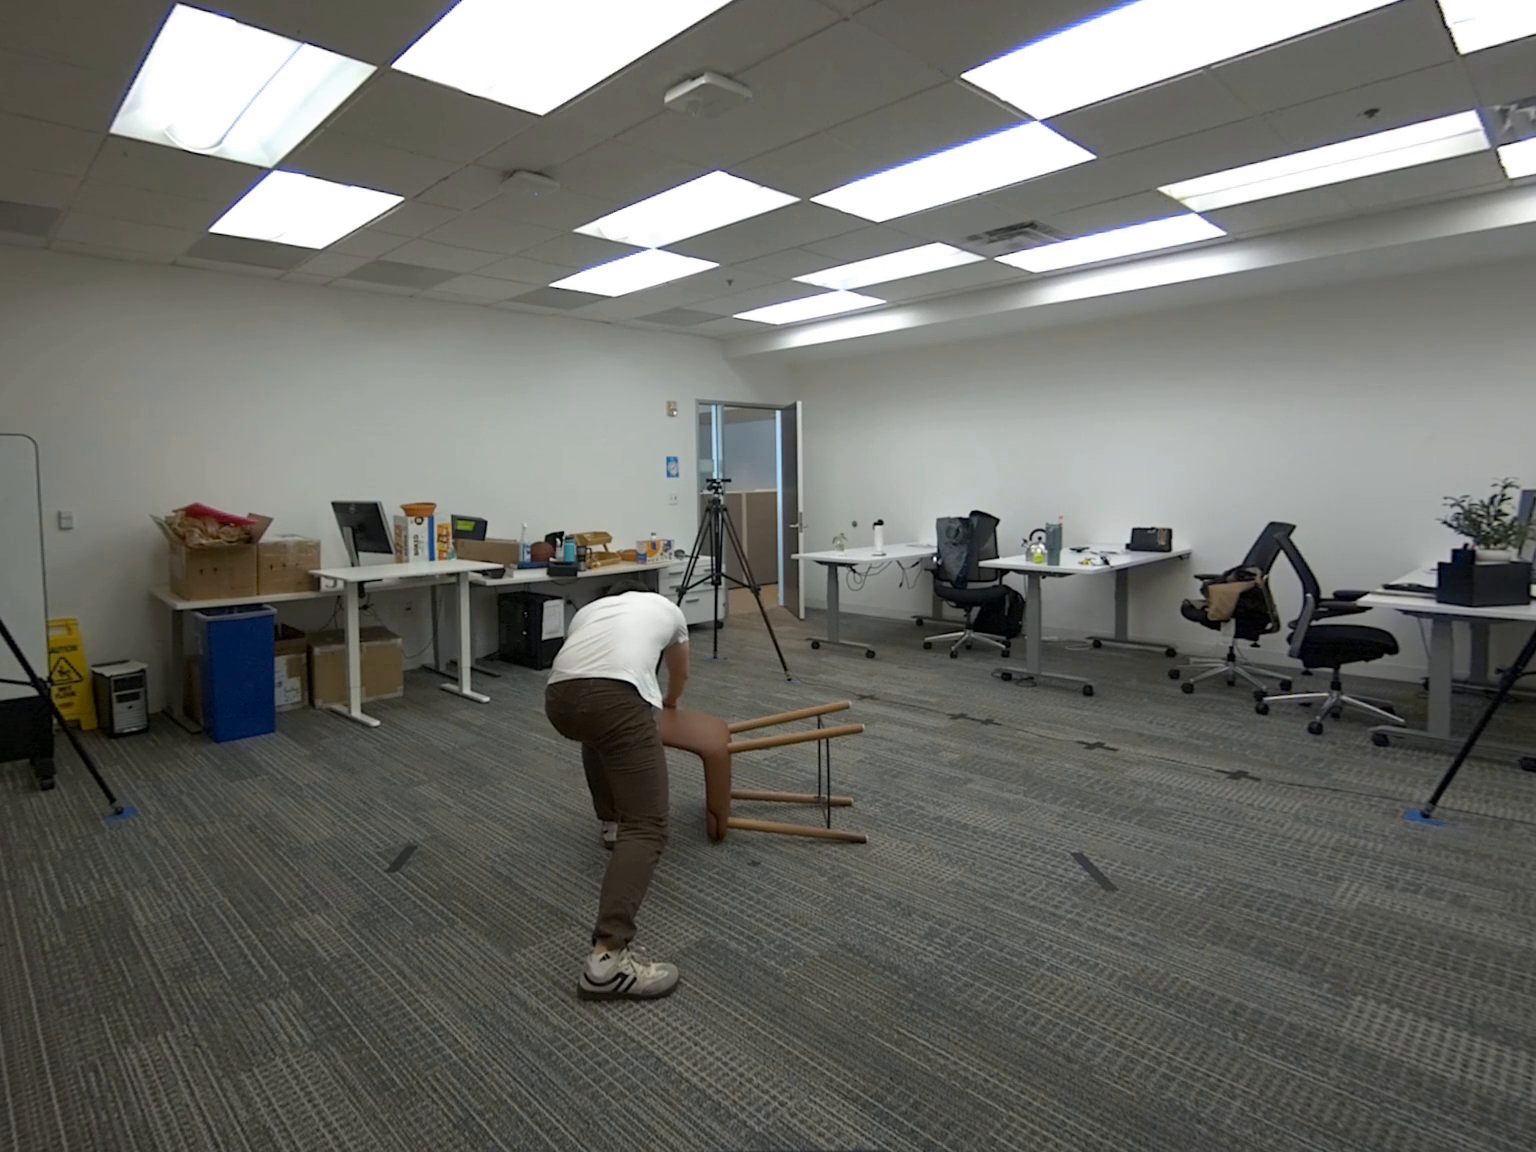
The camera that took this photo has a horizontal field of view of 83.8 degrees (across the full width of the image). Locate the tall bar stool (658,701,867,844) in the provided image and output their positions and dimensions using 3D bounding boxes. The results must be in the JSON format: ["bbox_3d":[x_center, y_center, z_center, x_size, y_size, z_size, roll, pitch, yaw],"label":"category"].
[{"bbox_3d":[-0.072,0.779,3.451,0.890,0.466,0.458,0,5,-1],"label":"tall bar stool"}]
